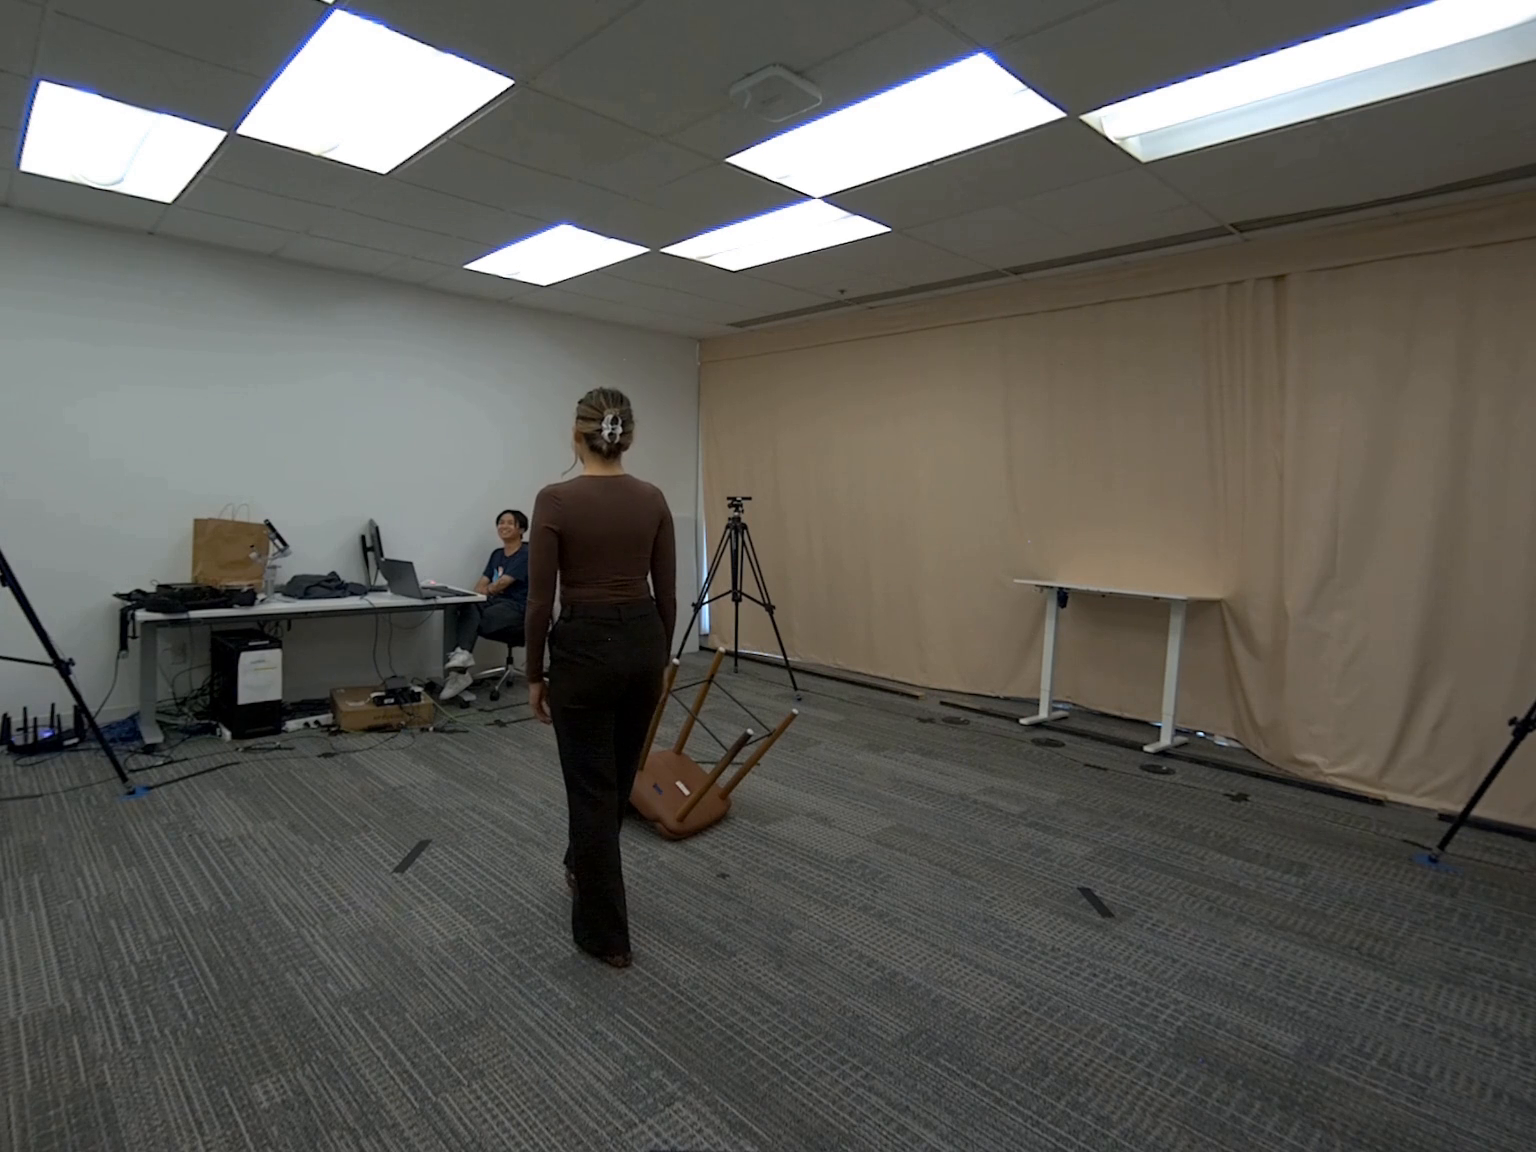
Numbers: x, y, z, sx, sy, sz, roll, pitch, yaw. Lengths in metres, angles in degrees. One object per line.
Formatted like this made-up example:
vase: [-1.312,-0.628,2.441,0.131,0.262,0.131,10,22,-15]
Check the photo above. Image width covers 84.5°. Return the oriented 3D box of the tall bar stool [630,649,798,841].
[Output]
tall bar stool: [-0.354,0.809,3.590,0.479,0.886,0.447,41,21,22]
